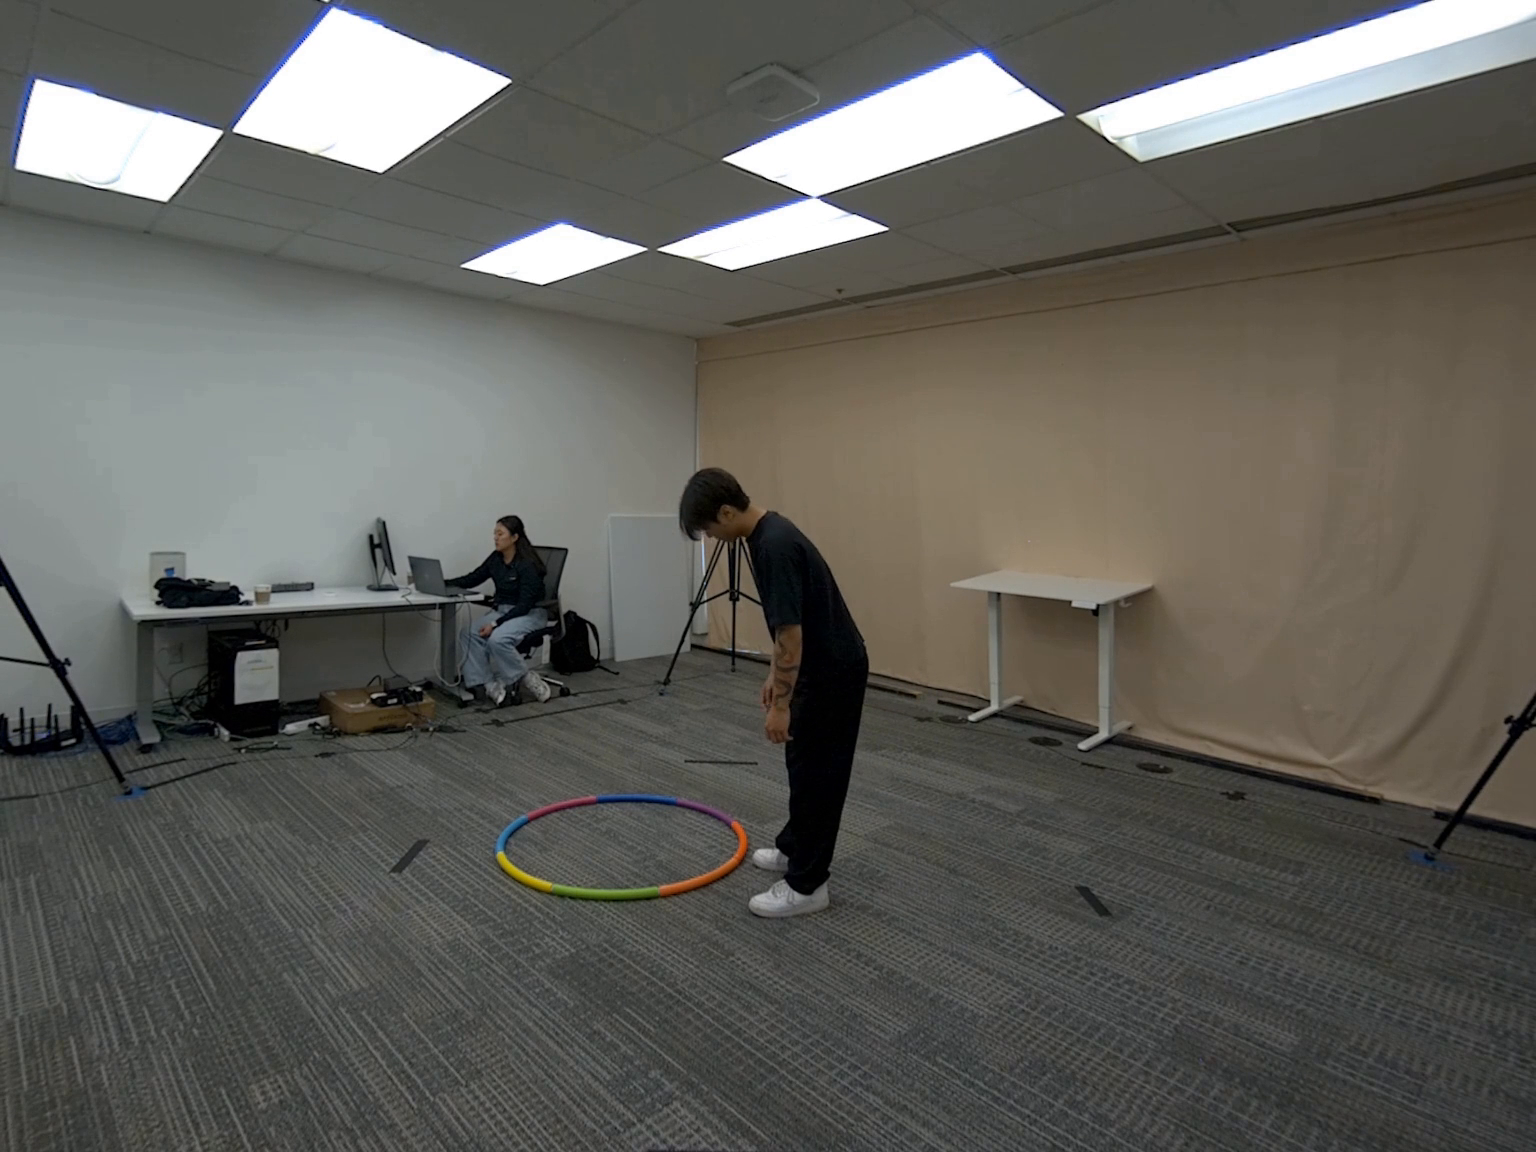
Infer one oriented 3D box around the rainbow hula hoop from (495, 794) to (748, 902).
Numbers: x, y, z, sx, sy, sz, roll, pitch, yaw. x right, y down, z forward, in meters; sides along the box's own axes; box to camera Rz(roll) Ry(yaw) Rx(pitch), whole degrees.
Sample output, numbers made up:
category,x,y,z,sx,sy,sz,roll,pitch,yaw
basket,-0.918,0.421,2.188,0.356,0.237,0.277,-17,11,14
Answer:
category,x,y,z,sx,sy,sz,roll,pitch,yaw
rainbow hula hoop,-0.577,1.043,3.361,0.978,0.035,0.982,2,5,-1
